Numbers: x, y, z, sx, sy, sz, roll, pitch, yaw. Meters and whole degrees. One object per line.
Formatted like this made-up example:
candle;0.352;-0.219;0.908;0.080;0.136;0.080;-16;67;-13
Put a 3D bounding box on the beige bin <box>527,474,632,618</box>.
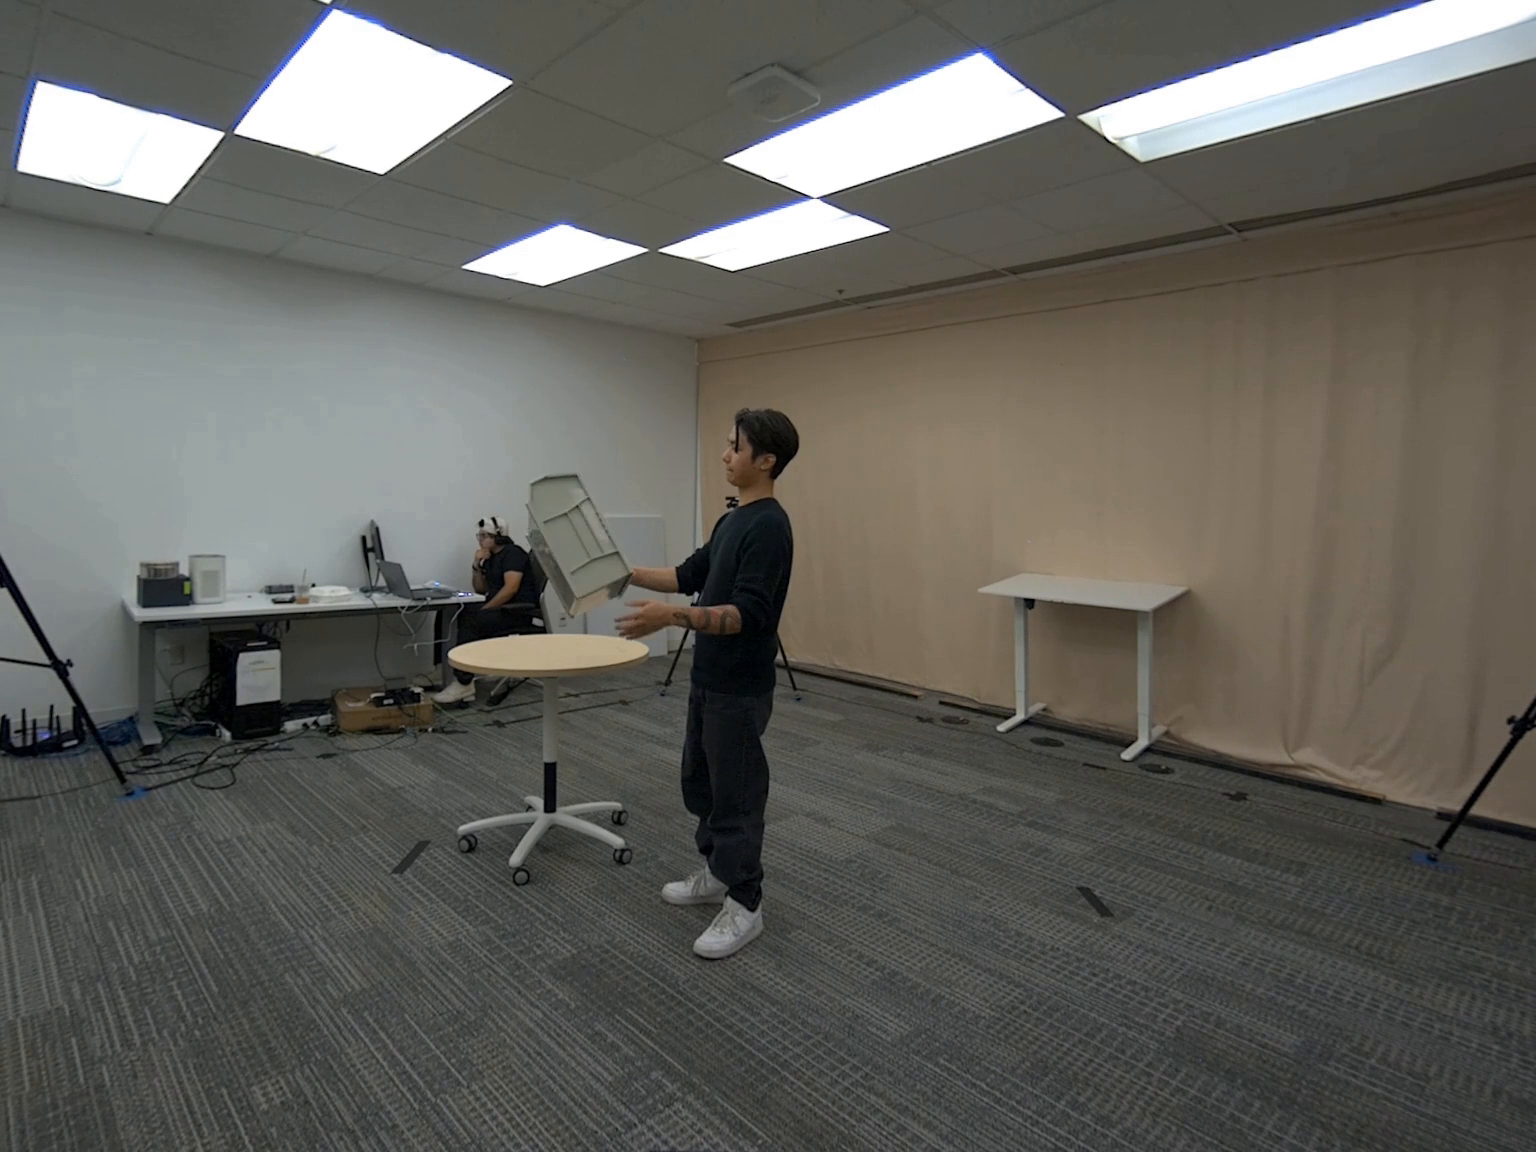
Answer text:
beige bin;-0.607;-0.080;2.589;0.187;0.380;0.423;-27;-5;-20
